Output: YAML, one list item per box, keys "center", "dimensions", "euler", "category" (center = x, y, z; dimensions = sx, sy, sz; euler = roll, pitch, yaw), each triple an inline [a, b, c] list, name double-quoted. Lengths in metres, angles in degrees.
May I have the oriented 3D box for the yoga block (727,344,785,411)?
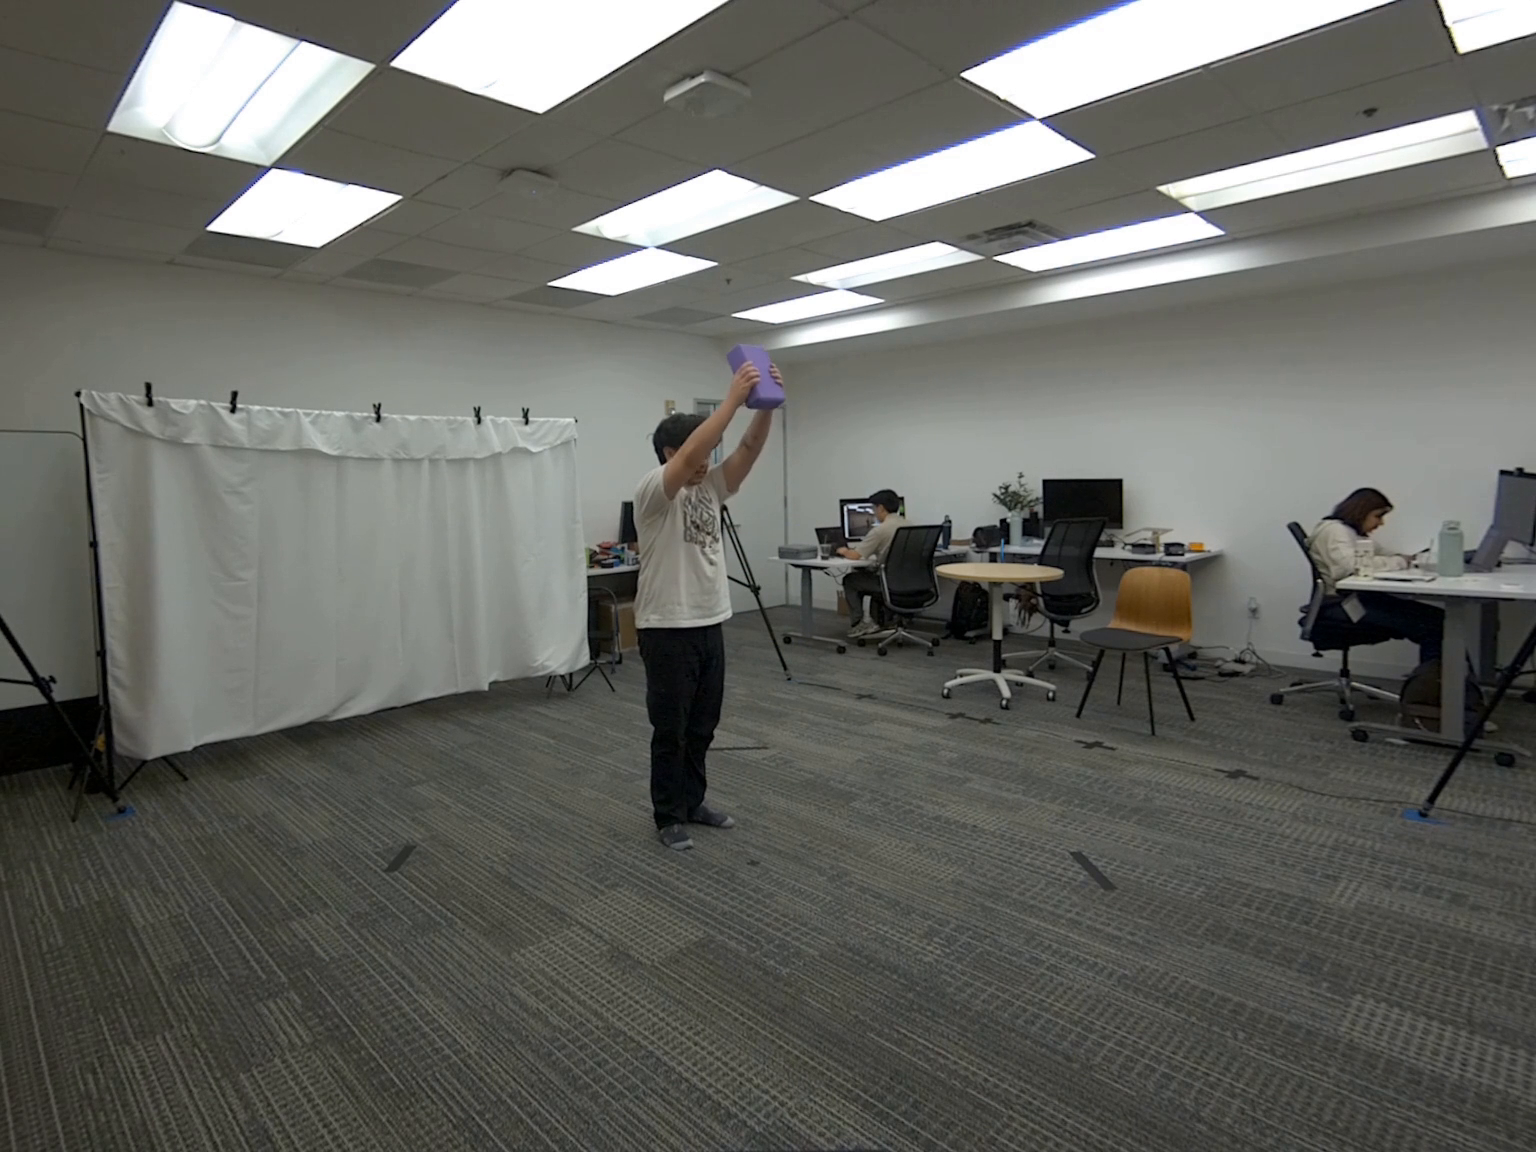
- center: [-0.047, -0.707, 3.065]
  dimensions: [0.145, 0.233, 0.077]
  euler: [-7, -19, -45]
  category: "yoga block"
